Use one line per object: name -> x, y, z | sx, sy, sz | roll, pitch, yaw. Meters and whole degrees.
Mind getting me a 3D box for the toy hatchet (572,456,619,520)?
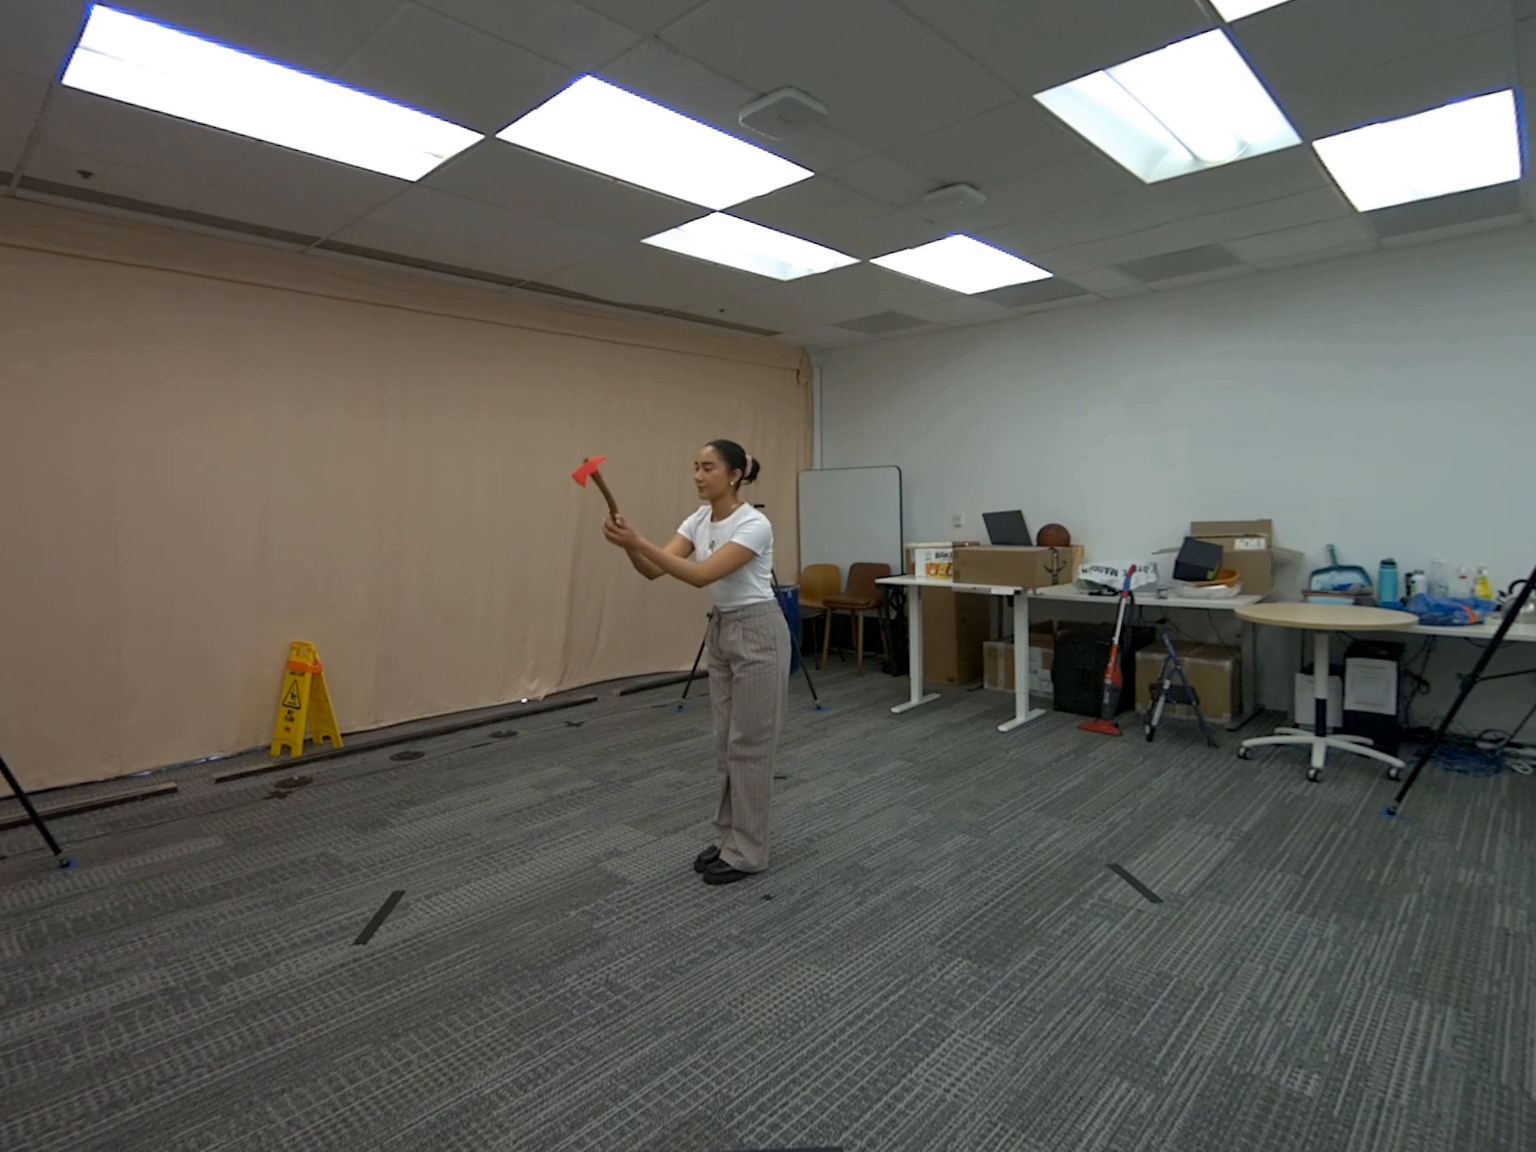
toy hatchet -> -0.569, -0.259, 2.848 | 0.130, 0.267, 0.030 | -13, 13, -10
